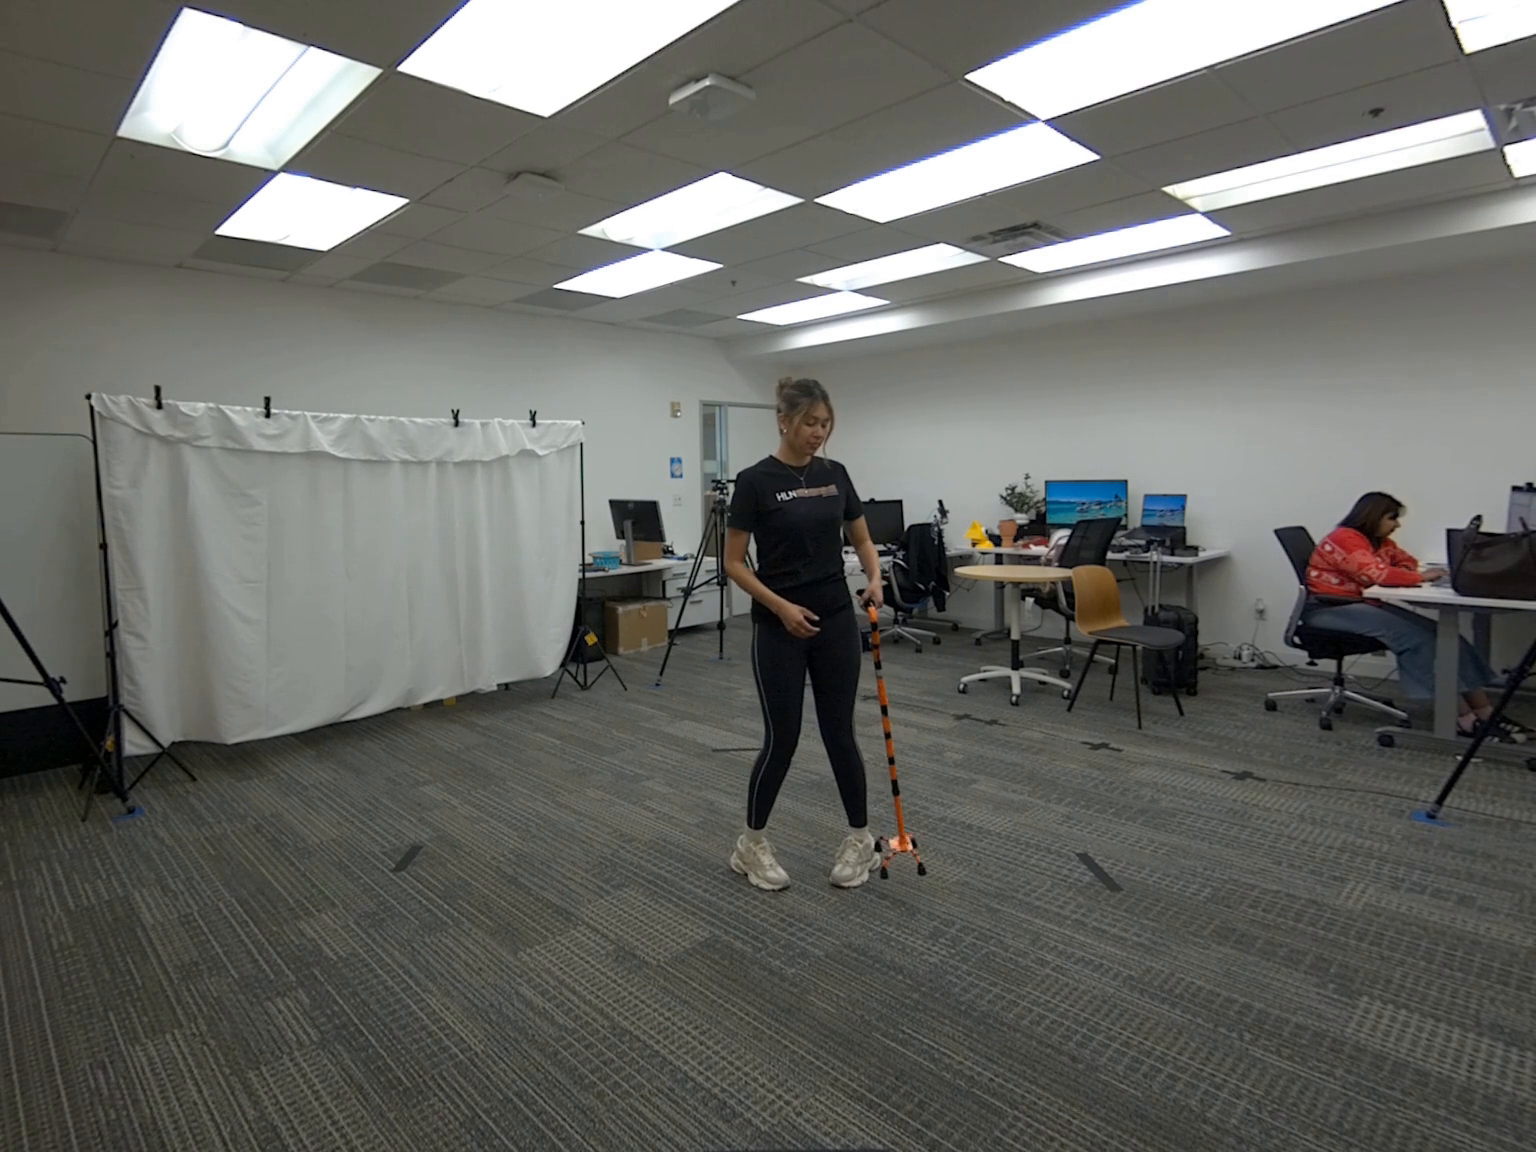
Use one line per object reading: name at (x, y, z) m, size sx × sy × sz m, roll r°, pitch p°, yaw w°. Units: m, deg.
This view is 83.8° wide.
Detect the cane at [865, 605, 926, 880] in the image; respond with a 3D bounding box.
cane at (0.375, 0.528, 2.830) m, size 0.152 × 0.901 × 0.207 m, roll -8°, pitch 7°, yaw 2°
